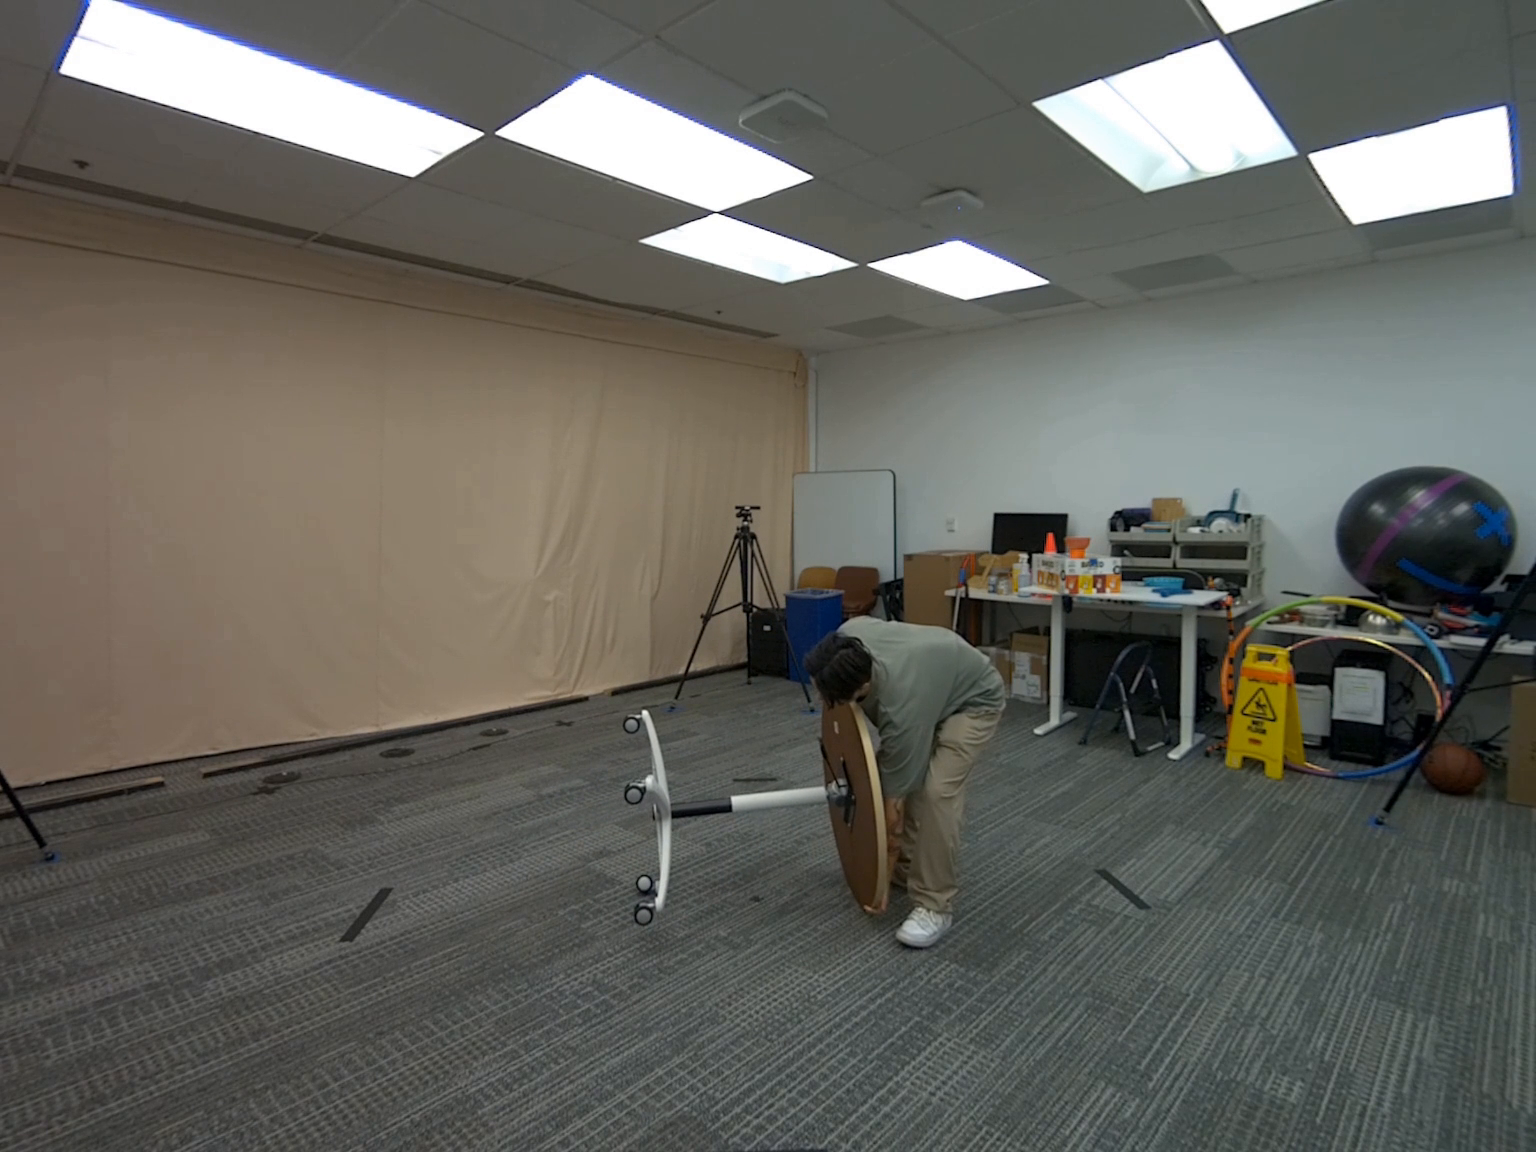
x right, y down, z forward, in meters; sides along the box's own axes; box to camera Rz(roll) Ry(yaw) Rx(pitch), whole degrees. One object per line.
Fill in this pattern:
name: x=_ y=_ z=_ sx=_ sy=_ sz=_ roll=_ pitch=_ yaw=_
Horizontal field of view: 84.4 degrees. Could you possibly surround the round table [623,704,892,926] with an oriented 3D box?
round table: x=-0.082 y=0.783 z=2.937 sx=0.781 sy=0.783 sz=0.793 roll=-4 pitch=4 yaw=-8
